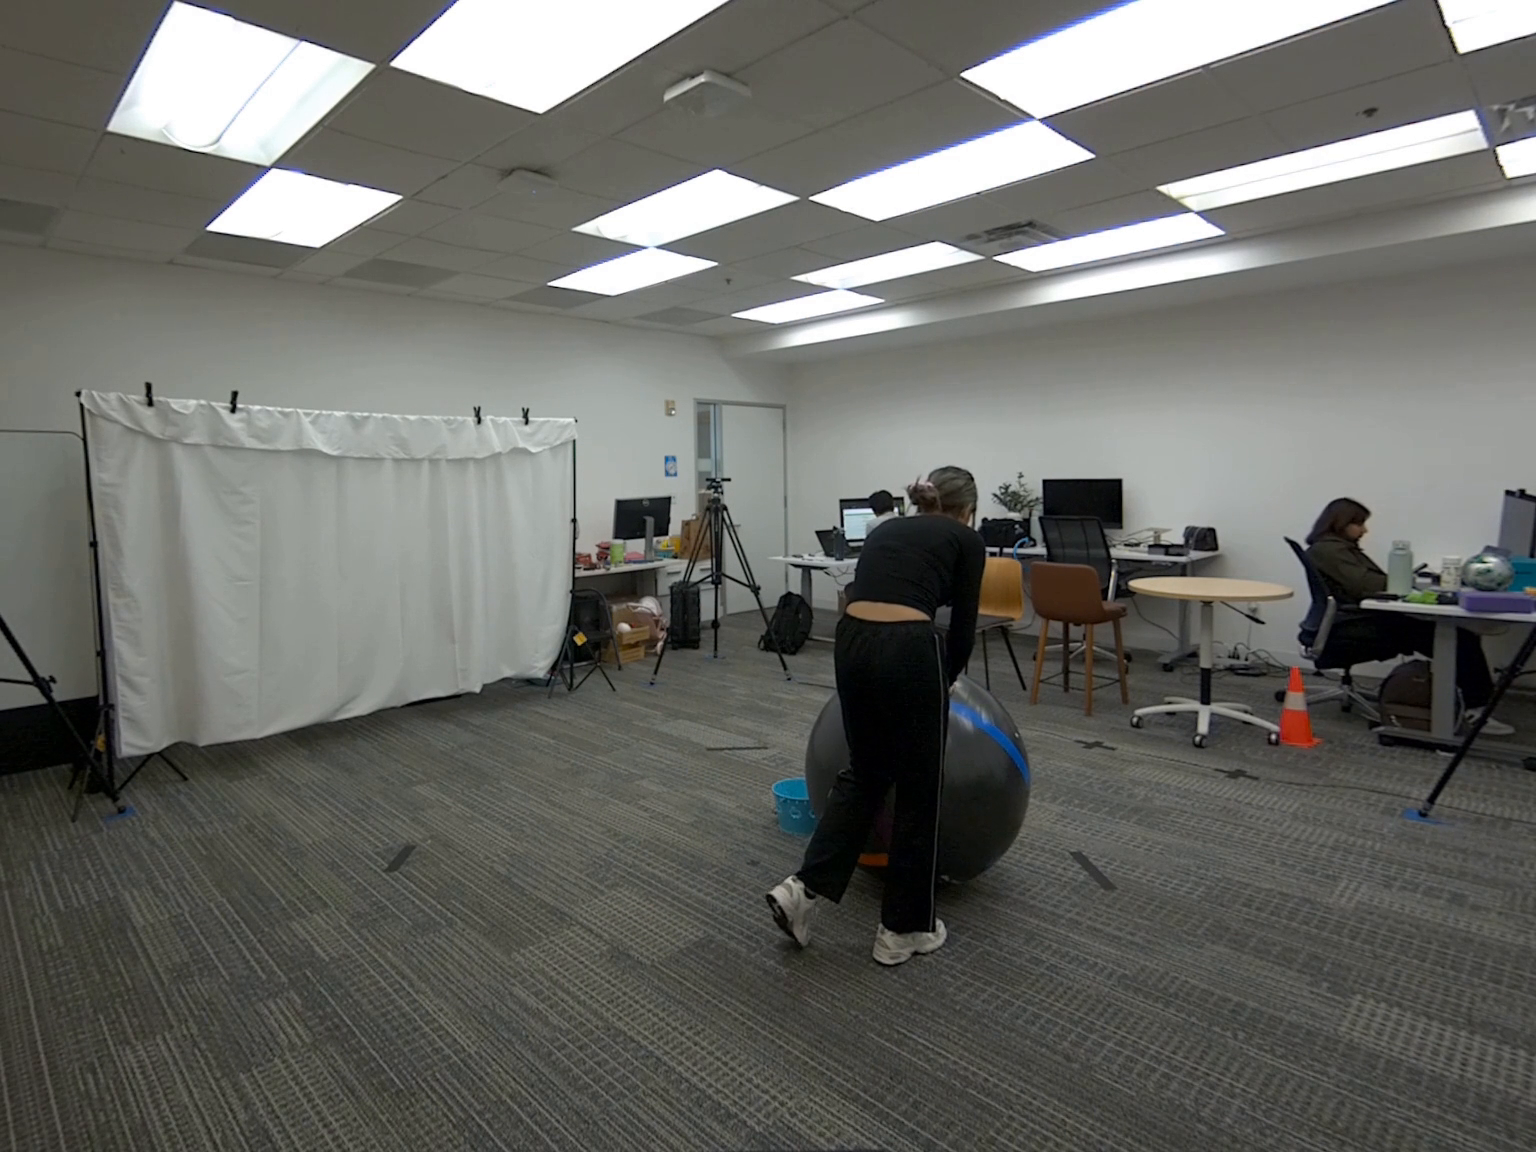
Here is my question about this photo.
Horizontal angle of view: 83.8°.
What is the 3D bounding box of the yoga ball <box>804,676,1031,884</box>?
[{"bbox_3d":[0.520,0.682,2.967,0.757,0.755,0.762,-1,5,-2],"label":"yoga ball"}]
